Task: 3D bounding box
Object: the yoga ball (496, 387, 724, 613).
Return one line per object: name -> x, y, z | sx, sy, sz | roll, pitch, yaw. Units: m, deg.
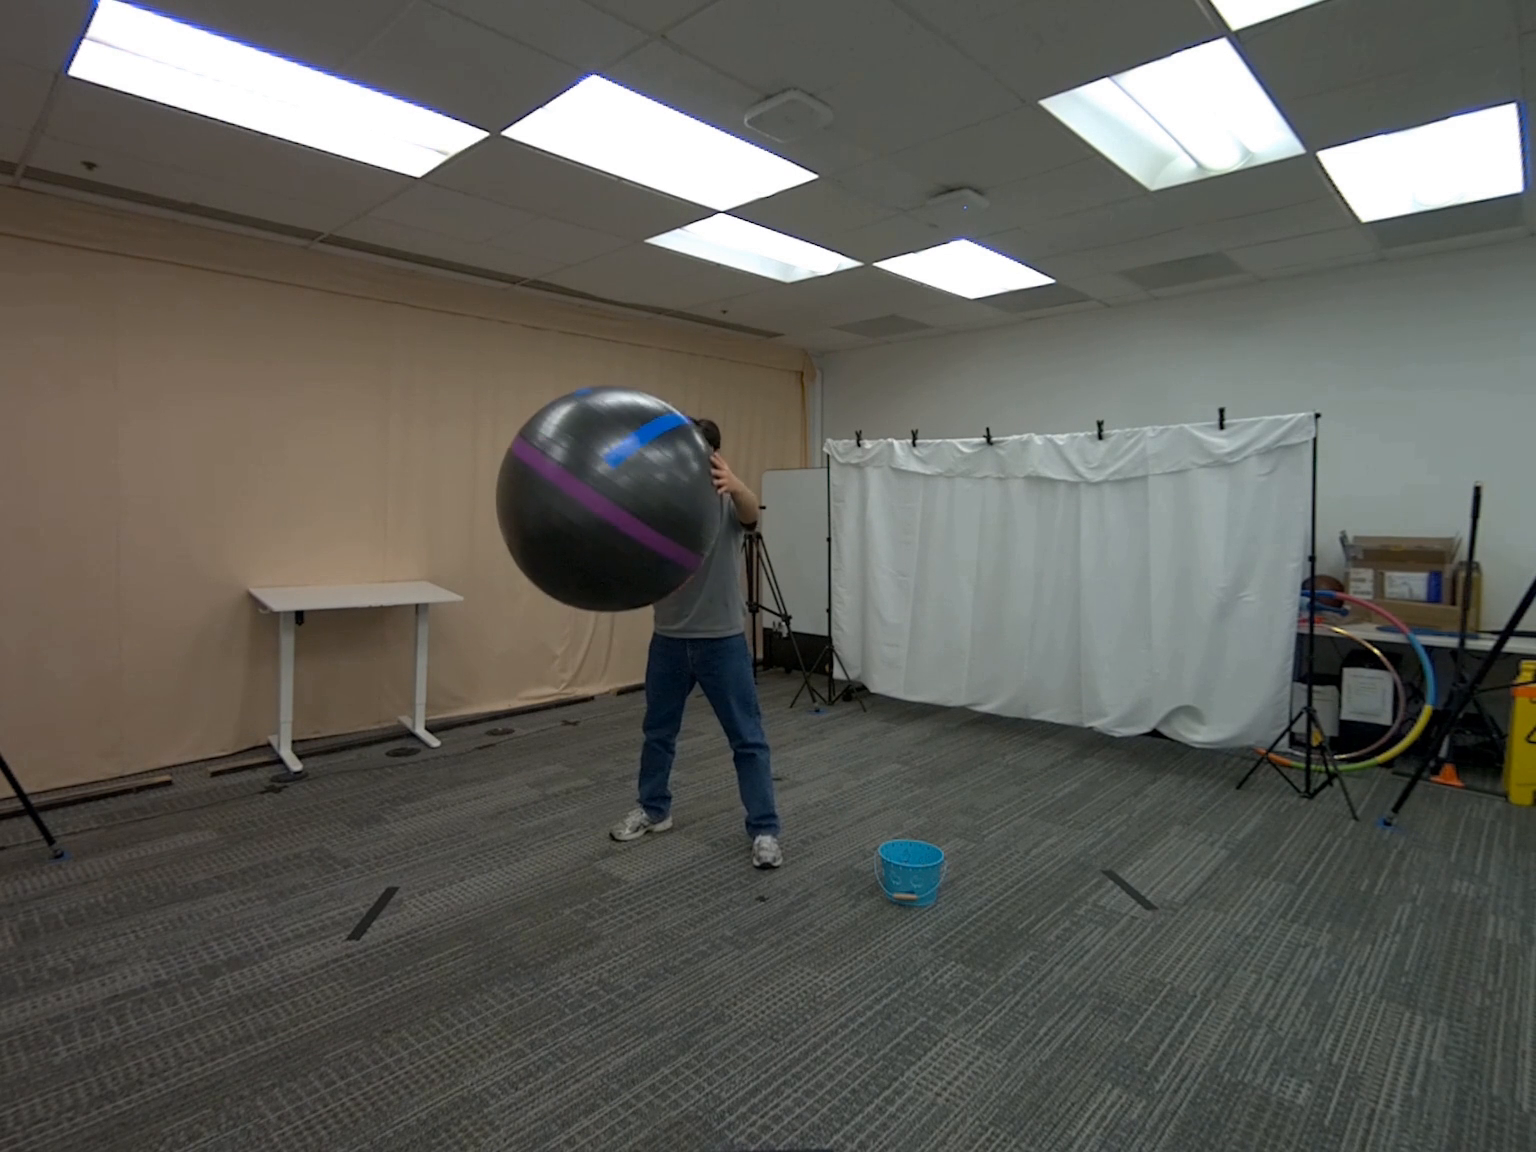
yoga ball -> -0.537, -0.238, 2.860 | 0.757, 0.756, 0.760 | 0, 4, -2
